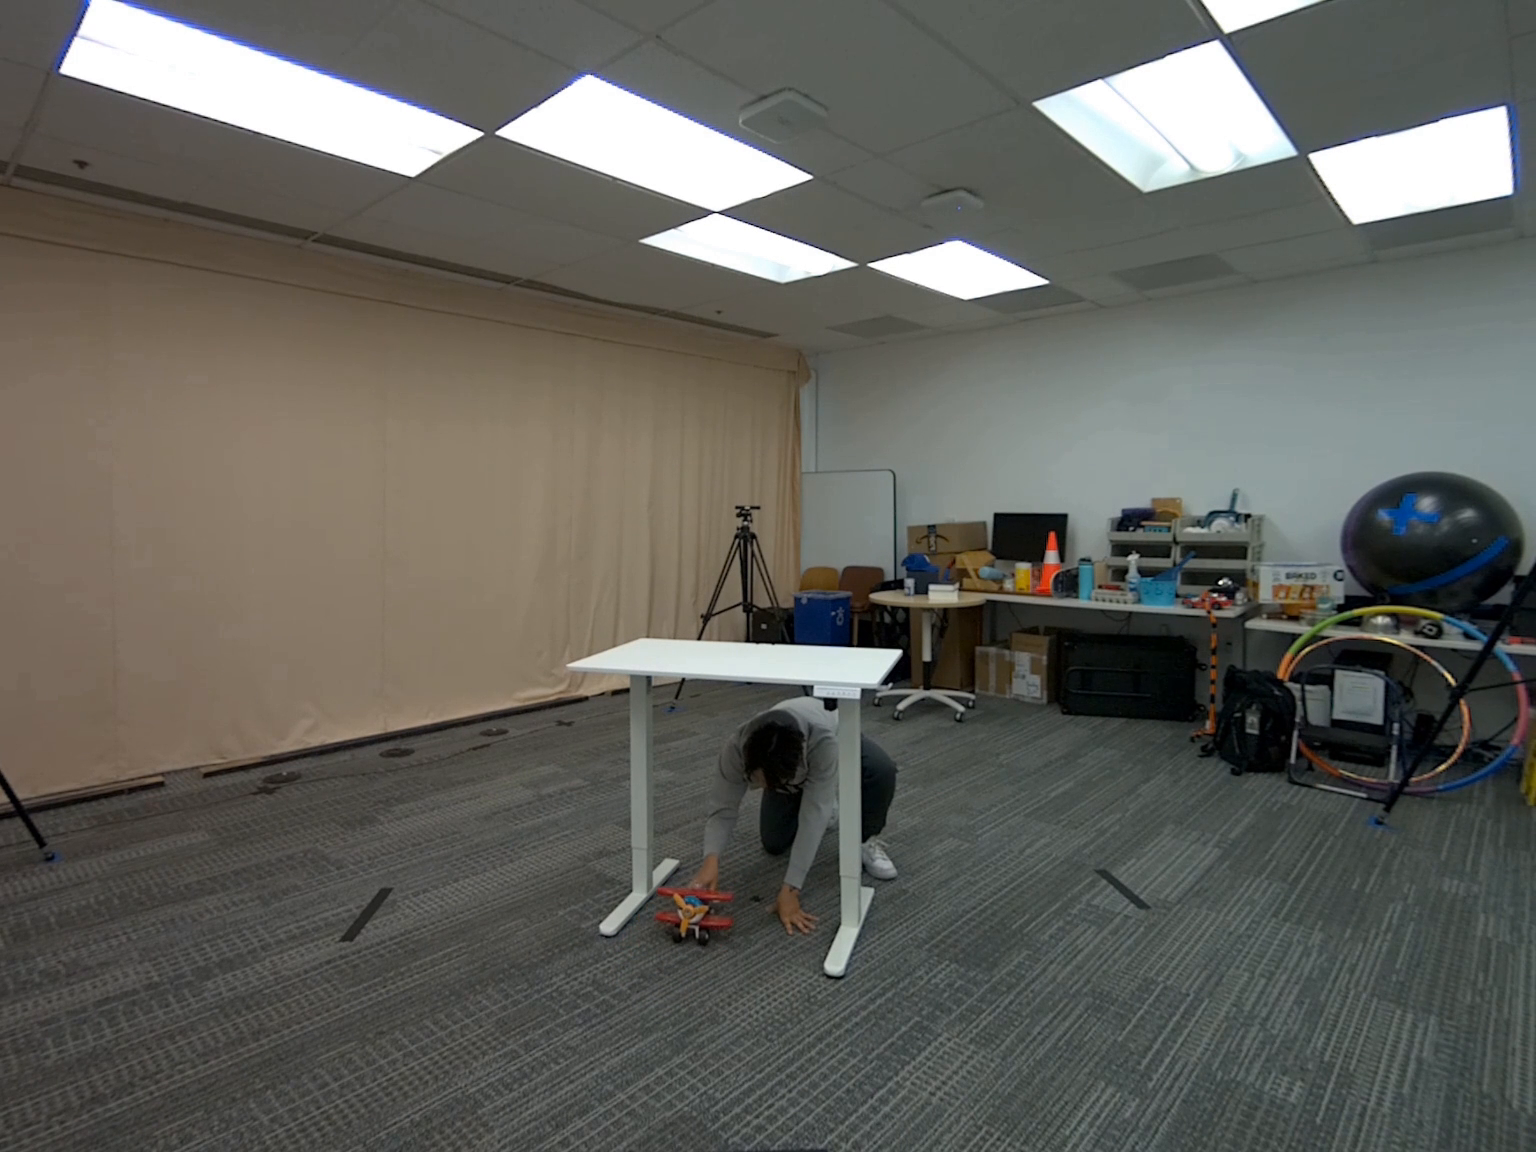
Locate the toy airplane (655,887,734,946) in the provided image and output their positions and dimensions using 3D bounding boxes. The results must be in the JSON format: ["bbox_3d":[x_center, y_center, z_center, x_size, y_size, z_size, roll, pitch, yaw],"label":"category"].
[{"bbox_3d":[-0.252,1.095,2.765,0.247,0.156,0.265,0,5,-18],"label":"toy airplane"}]
